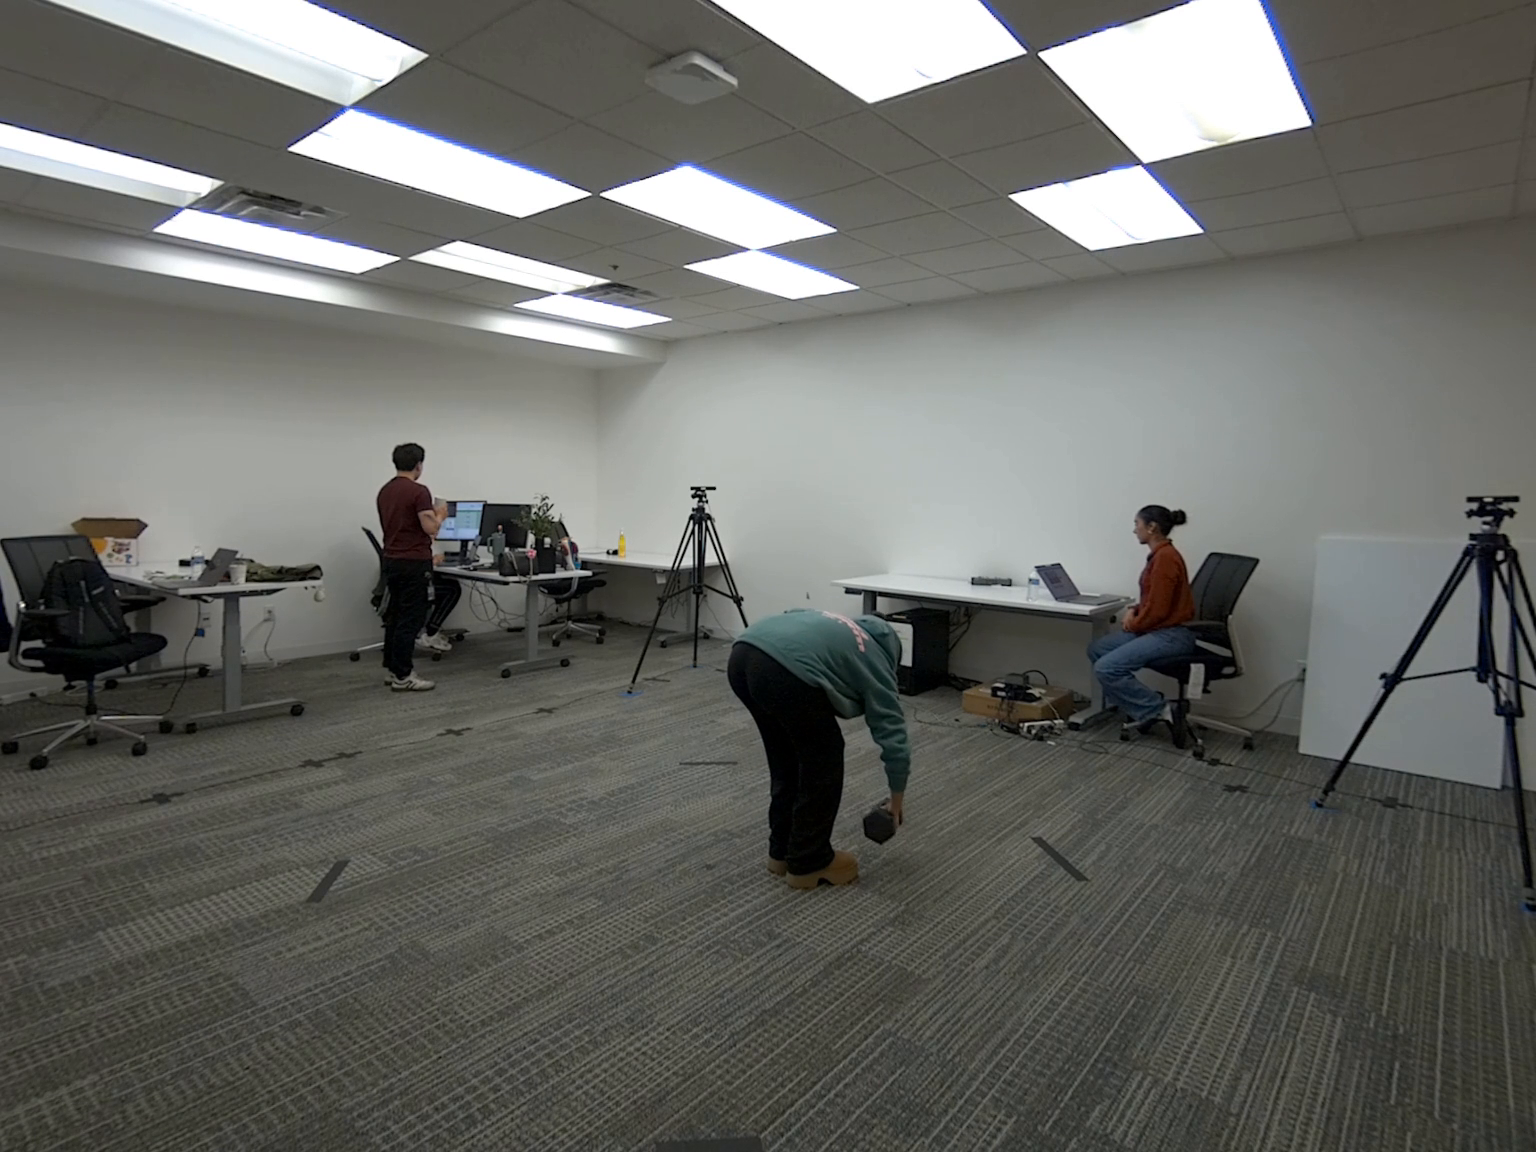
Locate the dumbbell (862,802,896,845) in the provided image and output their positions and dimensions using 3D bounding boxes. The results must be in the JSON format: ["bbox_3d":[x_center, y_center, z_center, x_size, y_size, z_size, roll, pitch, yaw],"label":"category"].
[{"bbox_3d":[0.418,0.898,3.145,0.110,0.124,0.287,-10,-7,13],"label":"dumbbell"}]
